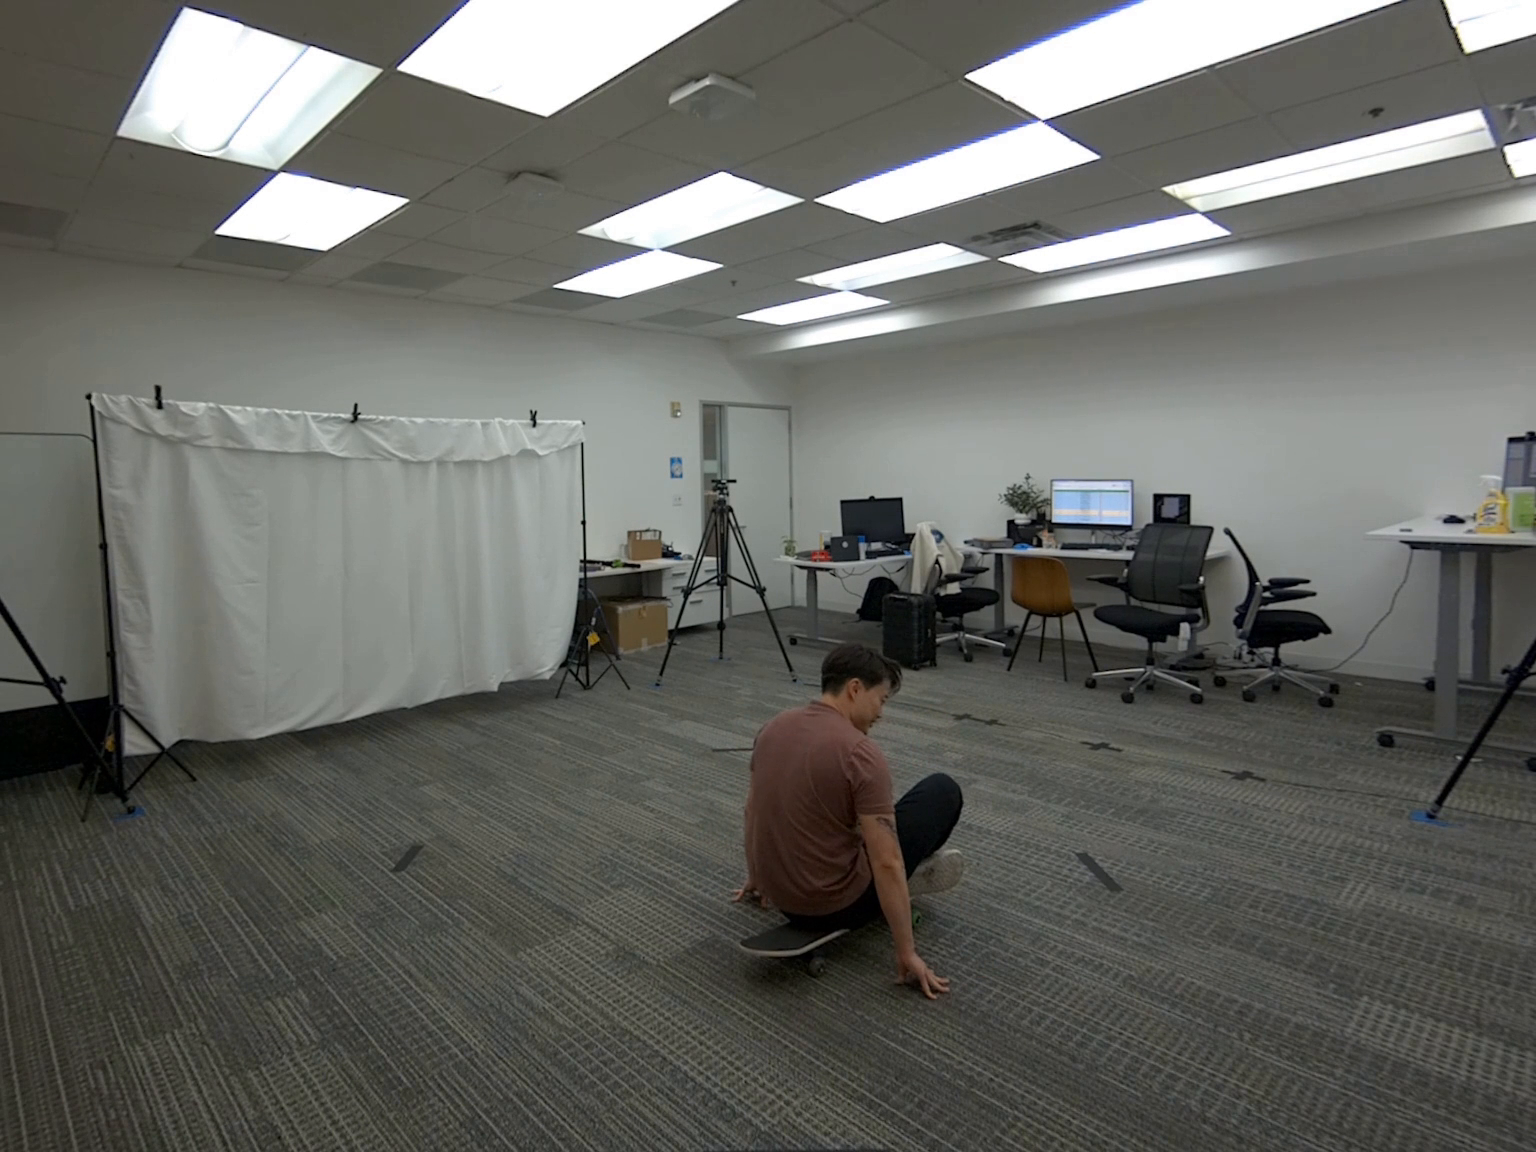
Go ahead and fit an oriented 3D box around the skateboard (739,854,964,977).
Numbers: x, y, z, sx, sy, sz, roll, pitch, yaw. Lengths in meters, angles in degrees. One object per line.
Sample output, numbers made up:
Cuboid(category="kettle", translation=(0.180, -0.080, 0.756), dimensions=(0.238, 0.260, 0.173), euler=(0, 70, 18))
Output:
Cuboid(category="skateboard", translation=(0.264, 1.049, 2.574), dimensions=(0.767, 0.111, 0.197), euler=(-8, -4, -35))
